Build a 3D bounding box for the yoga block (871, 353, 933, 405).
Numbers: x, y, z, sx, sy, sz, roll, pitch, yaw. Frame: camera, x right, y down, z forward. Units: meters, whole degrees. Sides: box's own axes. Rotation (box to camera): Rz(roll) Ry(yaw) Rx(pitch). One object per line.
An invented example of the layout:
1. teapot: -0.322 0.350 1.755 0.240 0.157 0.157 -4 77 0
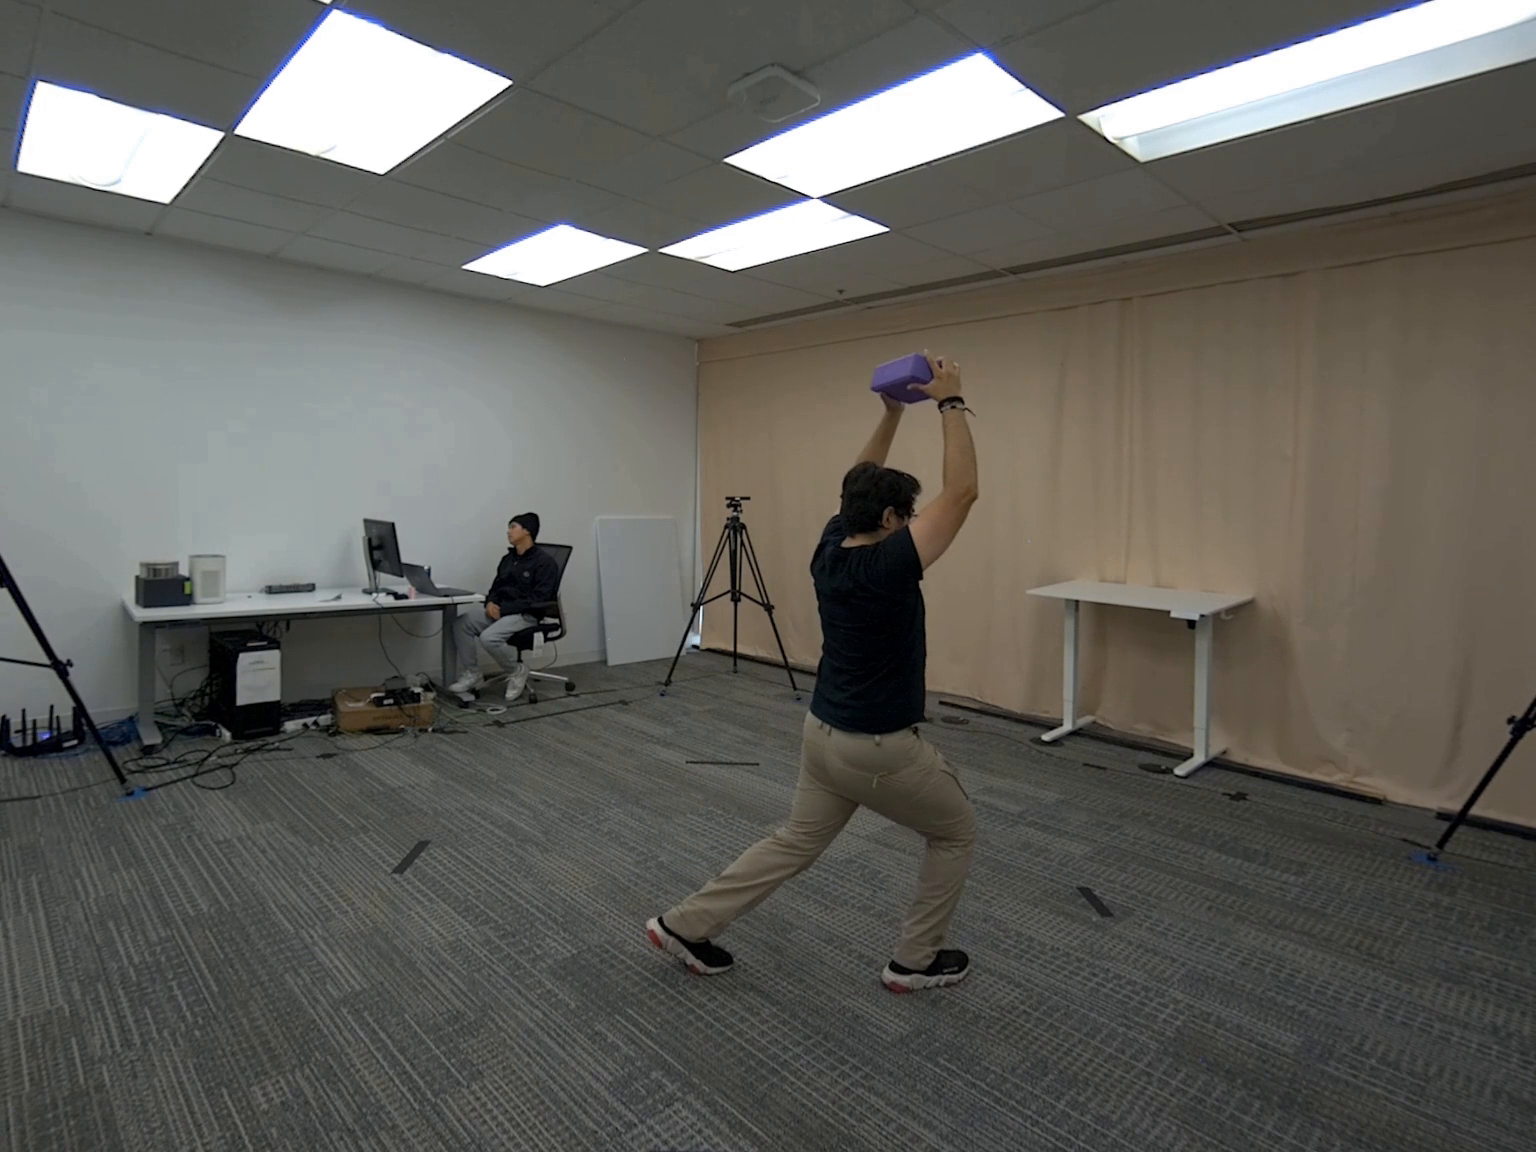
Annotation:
1. yoga block: 0.401 -0.562 2.399 0.146 0.076 0.233 14 -2 -21
